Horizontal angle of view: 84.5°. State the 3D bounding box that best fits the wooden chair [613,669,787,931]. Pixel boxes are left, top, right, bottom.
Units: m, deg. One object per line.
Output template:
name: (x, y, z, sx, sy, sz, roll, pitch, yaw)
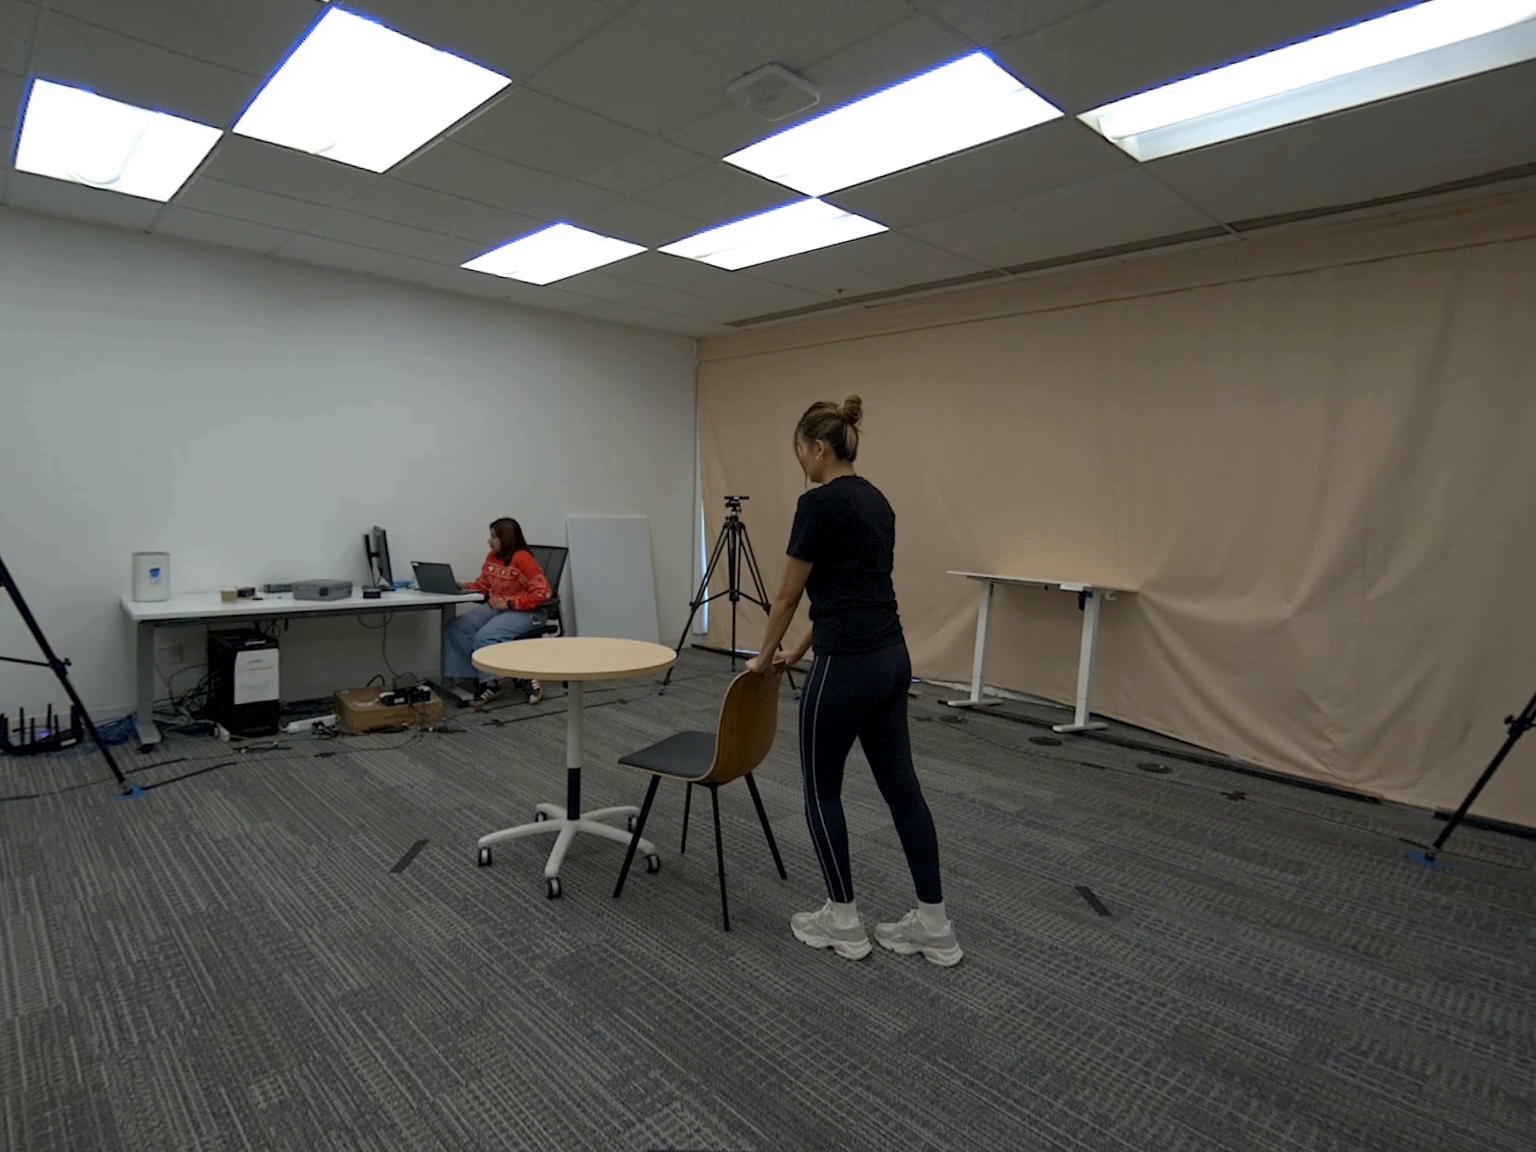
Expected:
wooden chair: (-0.234, 0.685, 2.967, 0.535, 0.874, 0.469, 8, 6, 28)
